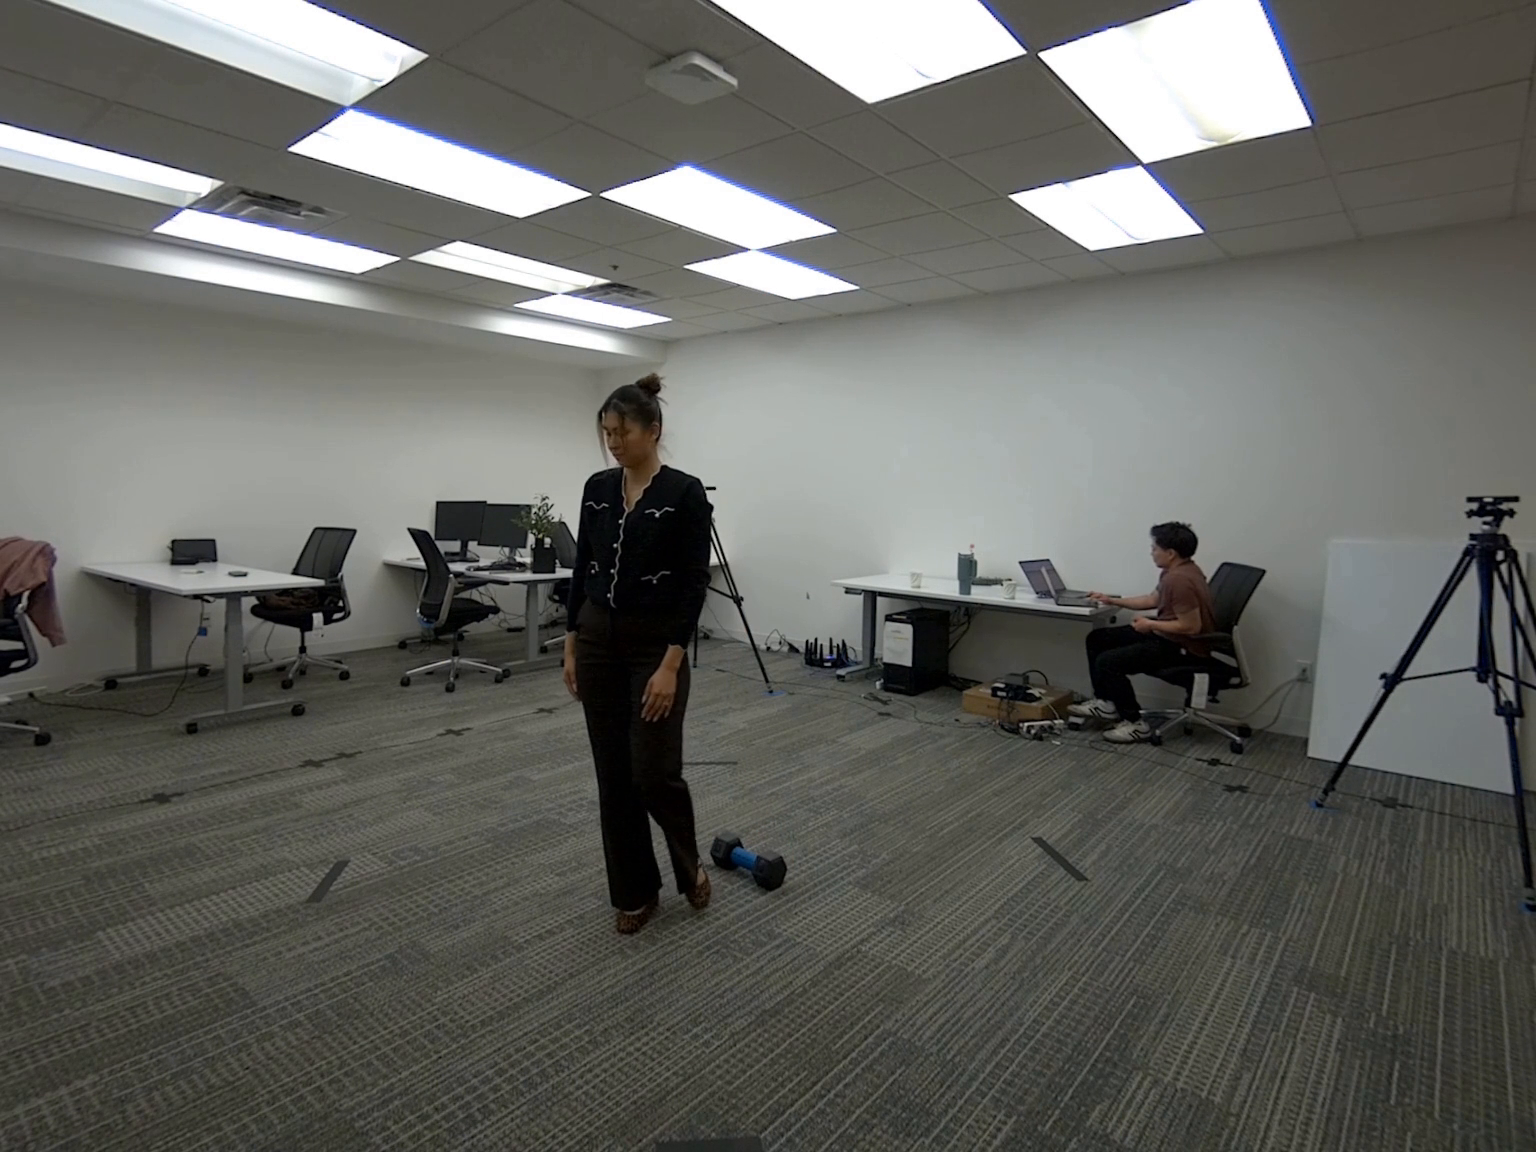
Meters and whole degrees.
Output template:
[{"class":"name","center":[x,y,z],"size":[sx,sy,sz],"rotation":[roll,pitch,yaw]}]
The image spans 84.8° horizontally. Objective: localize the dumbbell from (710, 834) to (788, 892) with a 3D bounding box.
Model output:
[{"class":"dumbbell","center":[-0.081,1.018,3.053],"size":[0.303,0.108,0.119],"rotation":[5,6,43]}]
